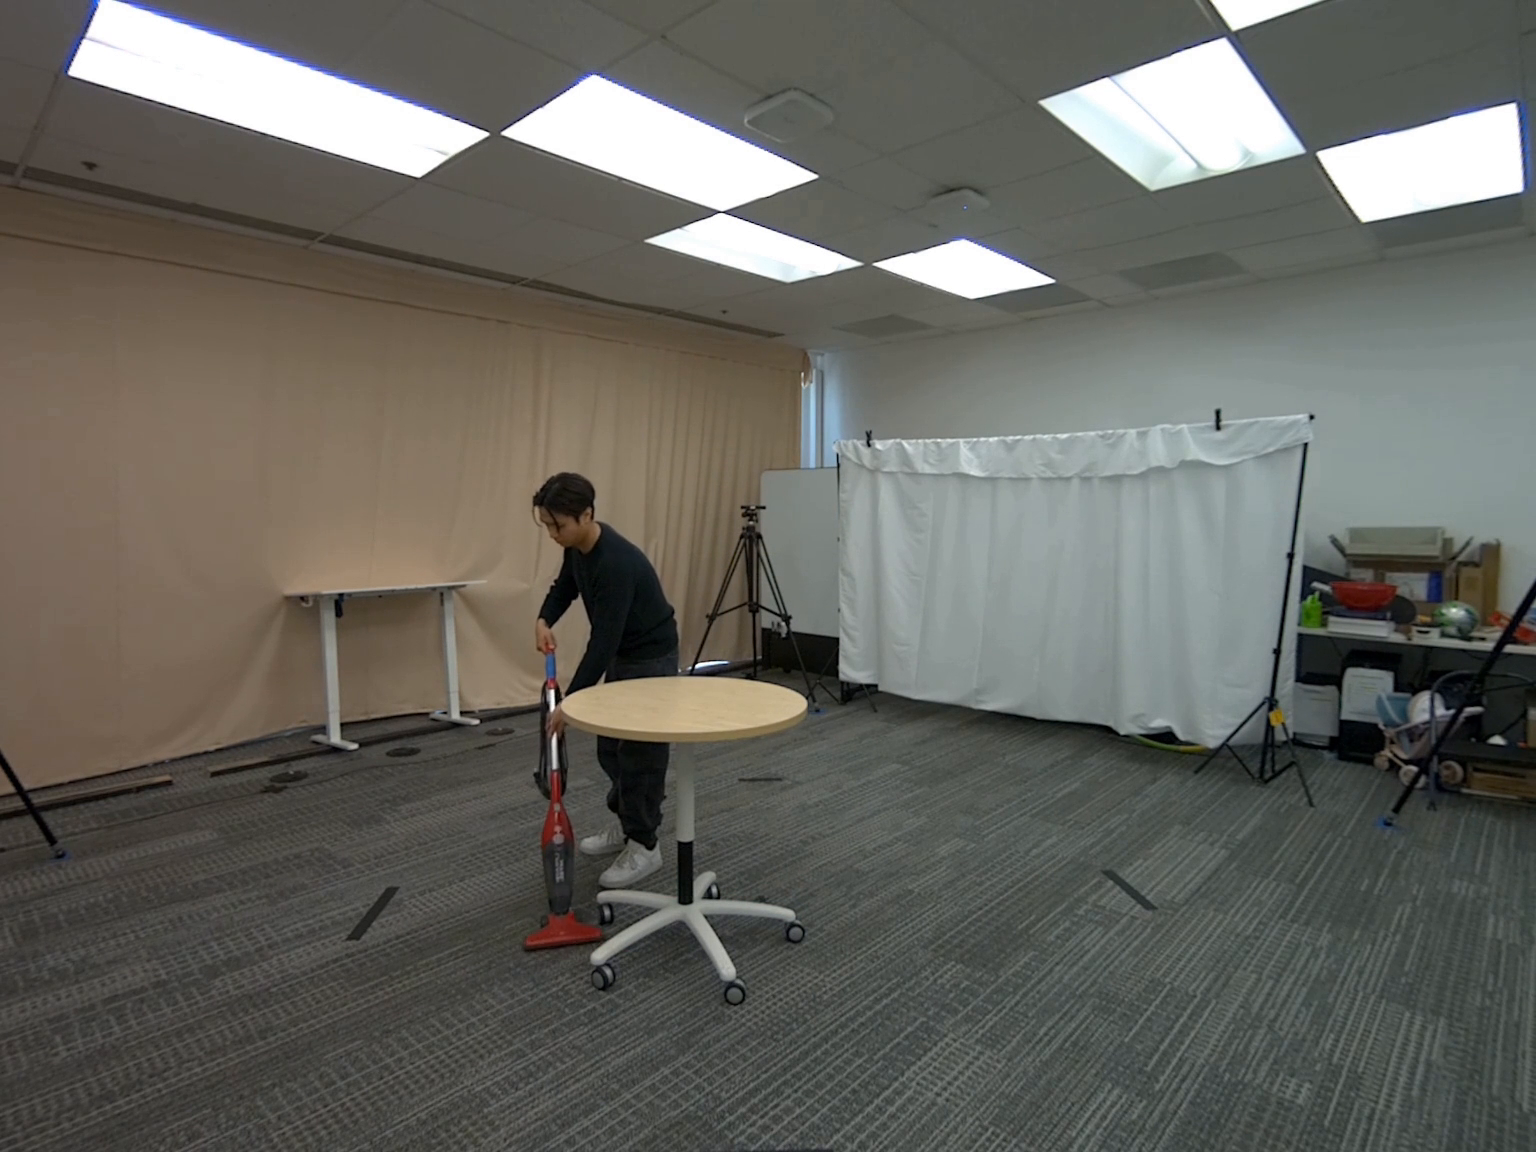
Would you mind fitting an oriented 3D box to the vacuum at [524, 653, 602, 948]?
[{"bbox_3d":[-0.759,0.688,2.990,0.248,1.071,0.143,-1,-31,-18],"label":"vacuum"}]
